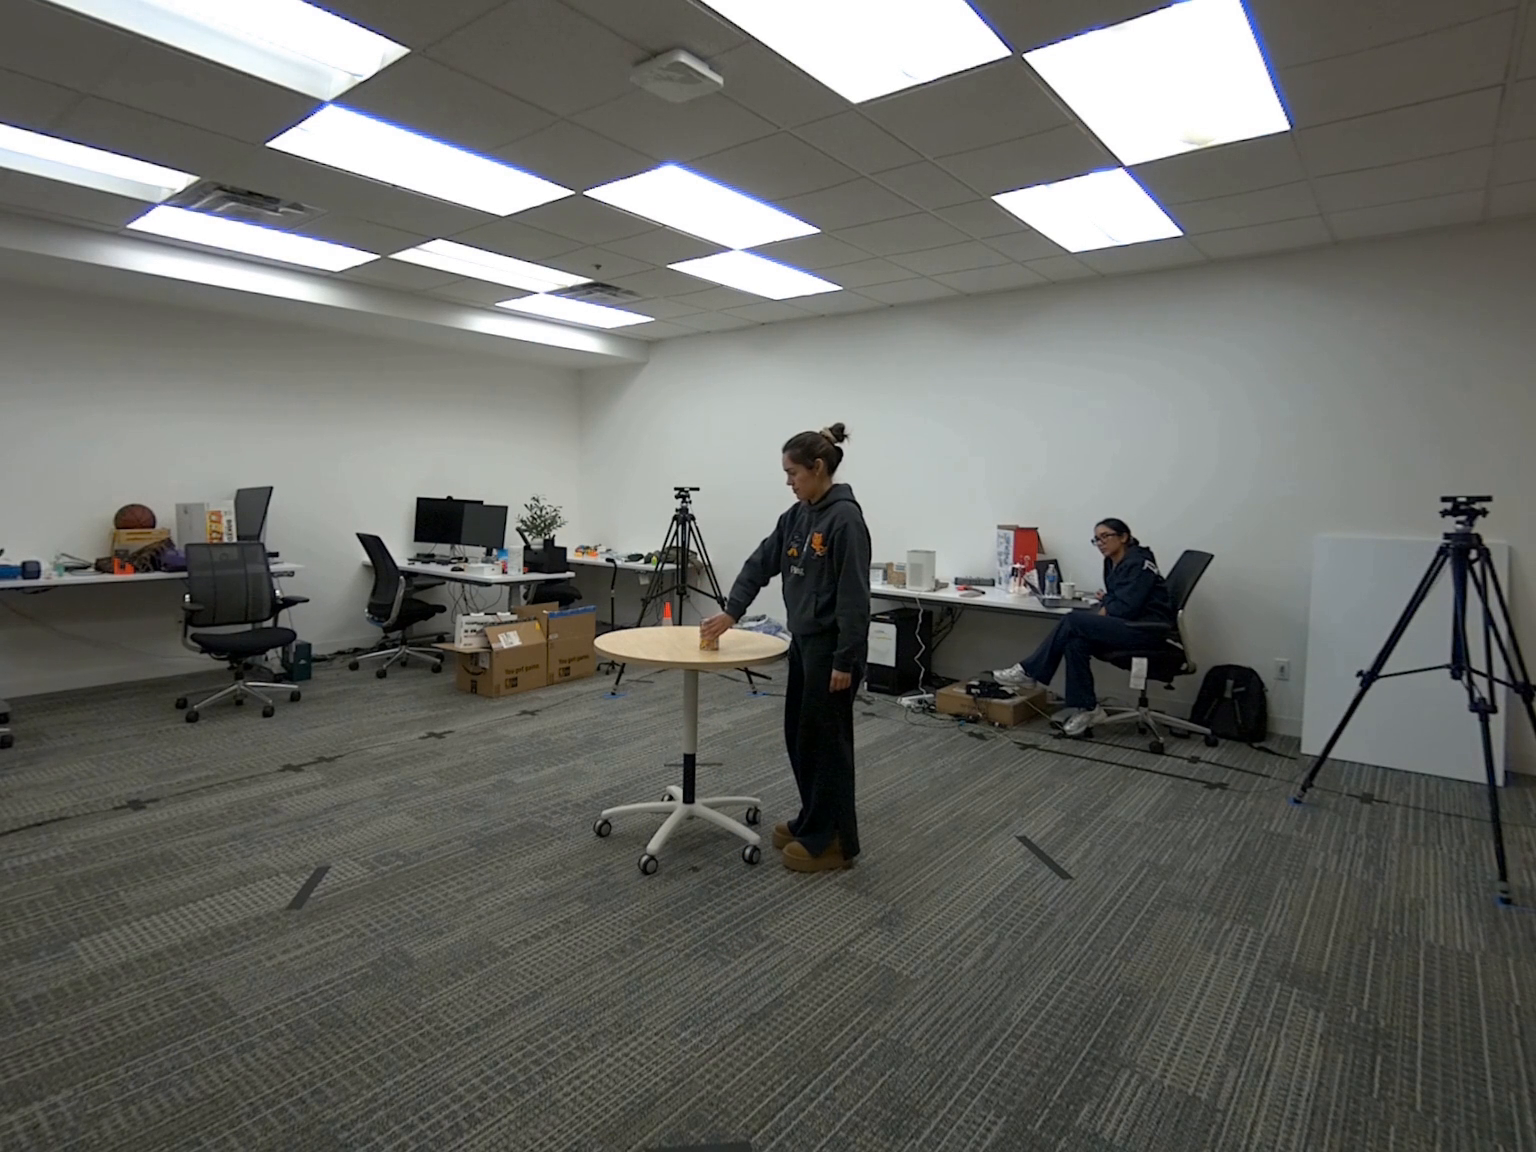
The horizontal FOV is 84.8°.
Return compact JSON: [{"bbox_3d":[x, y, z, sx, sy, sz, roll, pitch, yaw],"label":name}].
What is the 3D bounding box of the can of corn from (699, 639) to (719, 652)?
[{"bbox_3d":[-0.219,0.218,3.227,0.074,0.111,0.074,6,0,-2],"label":"can of corn"}]
